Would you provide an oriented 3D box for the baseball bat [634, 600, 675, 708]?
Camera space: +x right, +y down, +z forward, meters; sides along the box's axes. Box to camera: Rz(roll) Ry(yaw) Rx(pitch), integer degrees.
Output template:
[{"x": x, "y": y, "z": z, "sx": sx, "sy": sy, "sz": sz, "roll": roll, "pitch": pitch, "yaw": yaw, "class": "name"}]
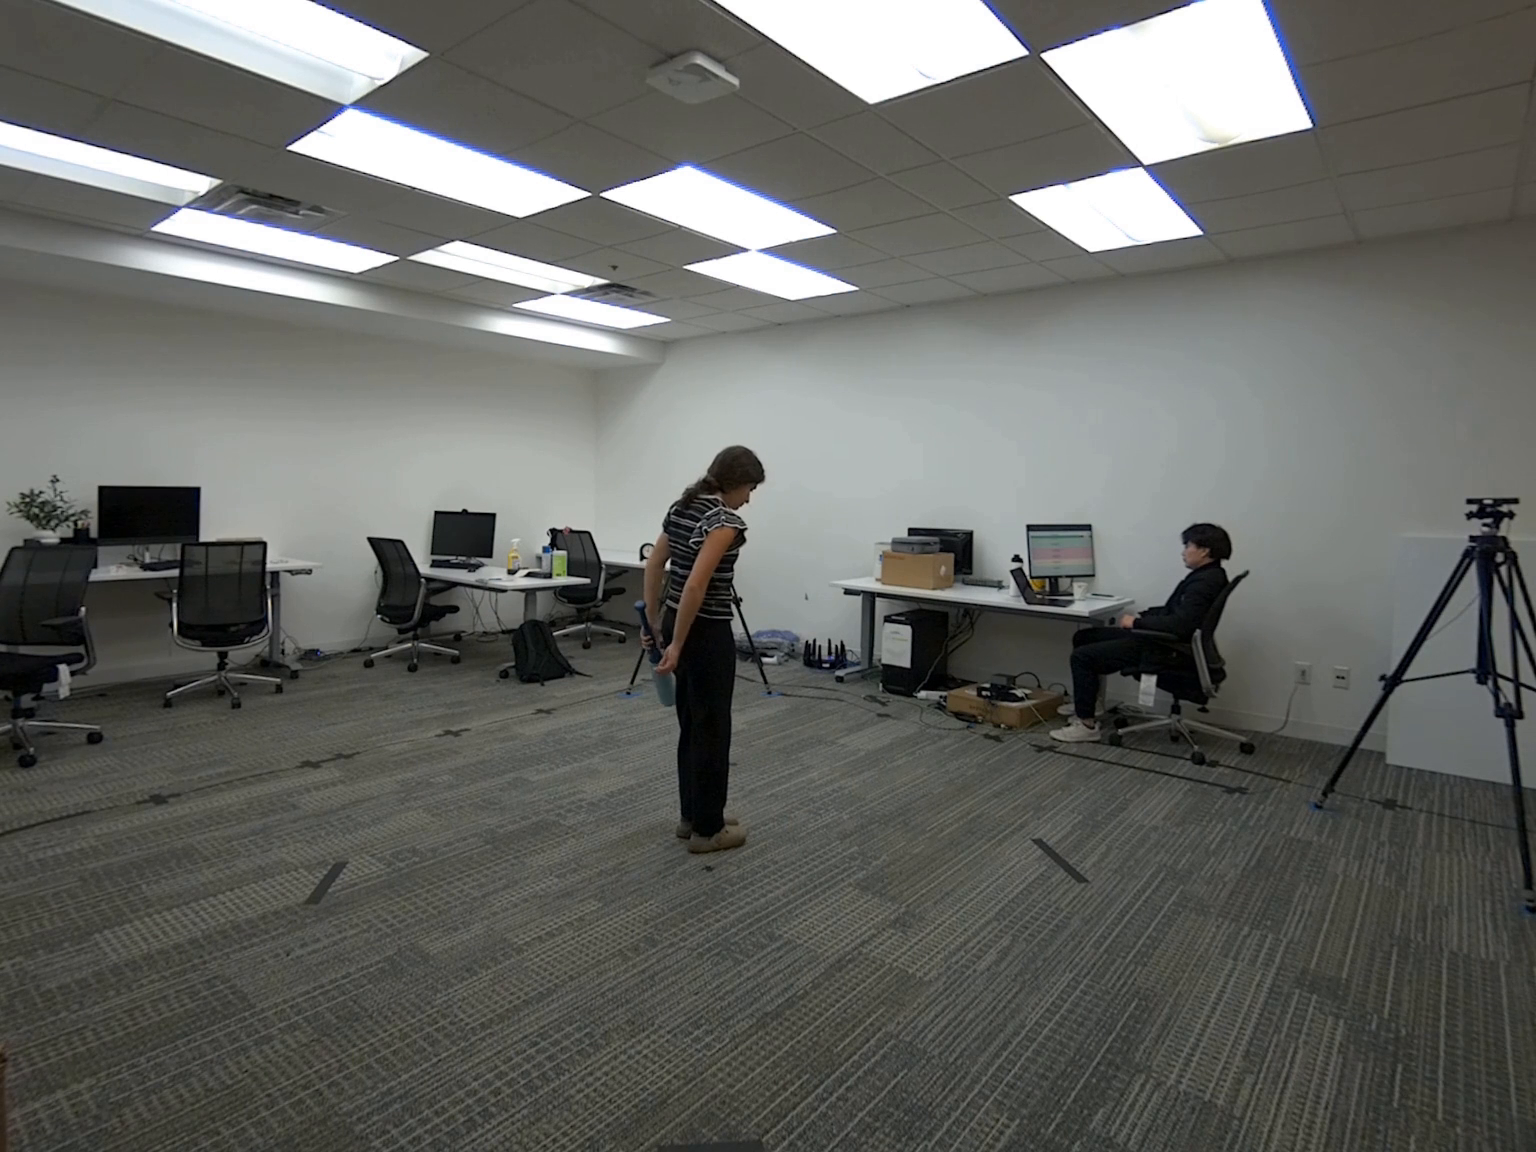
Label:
[{"x": -0.475, "y": 0.324, "z": 3.529, "sx": 0.089, "sy": 0.525, "sz": 0.091, "roll": -10, "pitch": 33, "yaw": 5, "class": "baseball bat"}]
